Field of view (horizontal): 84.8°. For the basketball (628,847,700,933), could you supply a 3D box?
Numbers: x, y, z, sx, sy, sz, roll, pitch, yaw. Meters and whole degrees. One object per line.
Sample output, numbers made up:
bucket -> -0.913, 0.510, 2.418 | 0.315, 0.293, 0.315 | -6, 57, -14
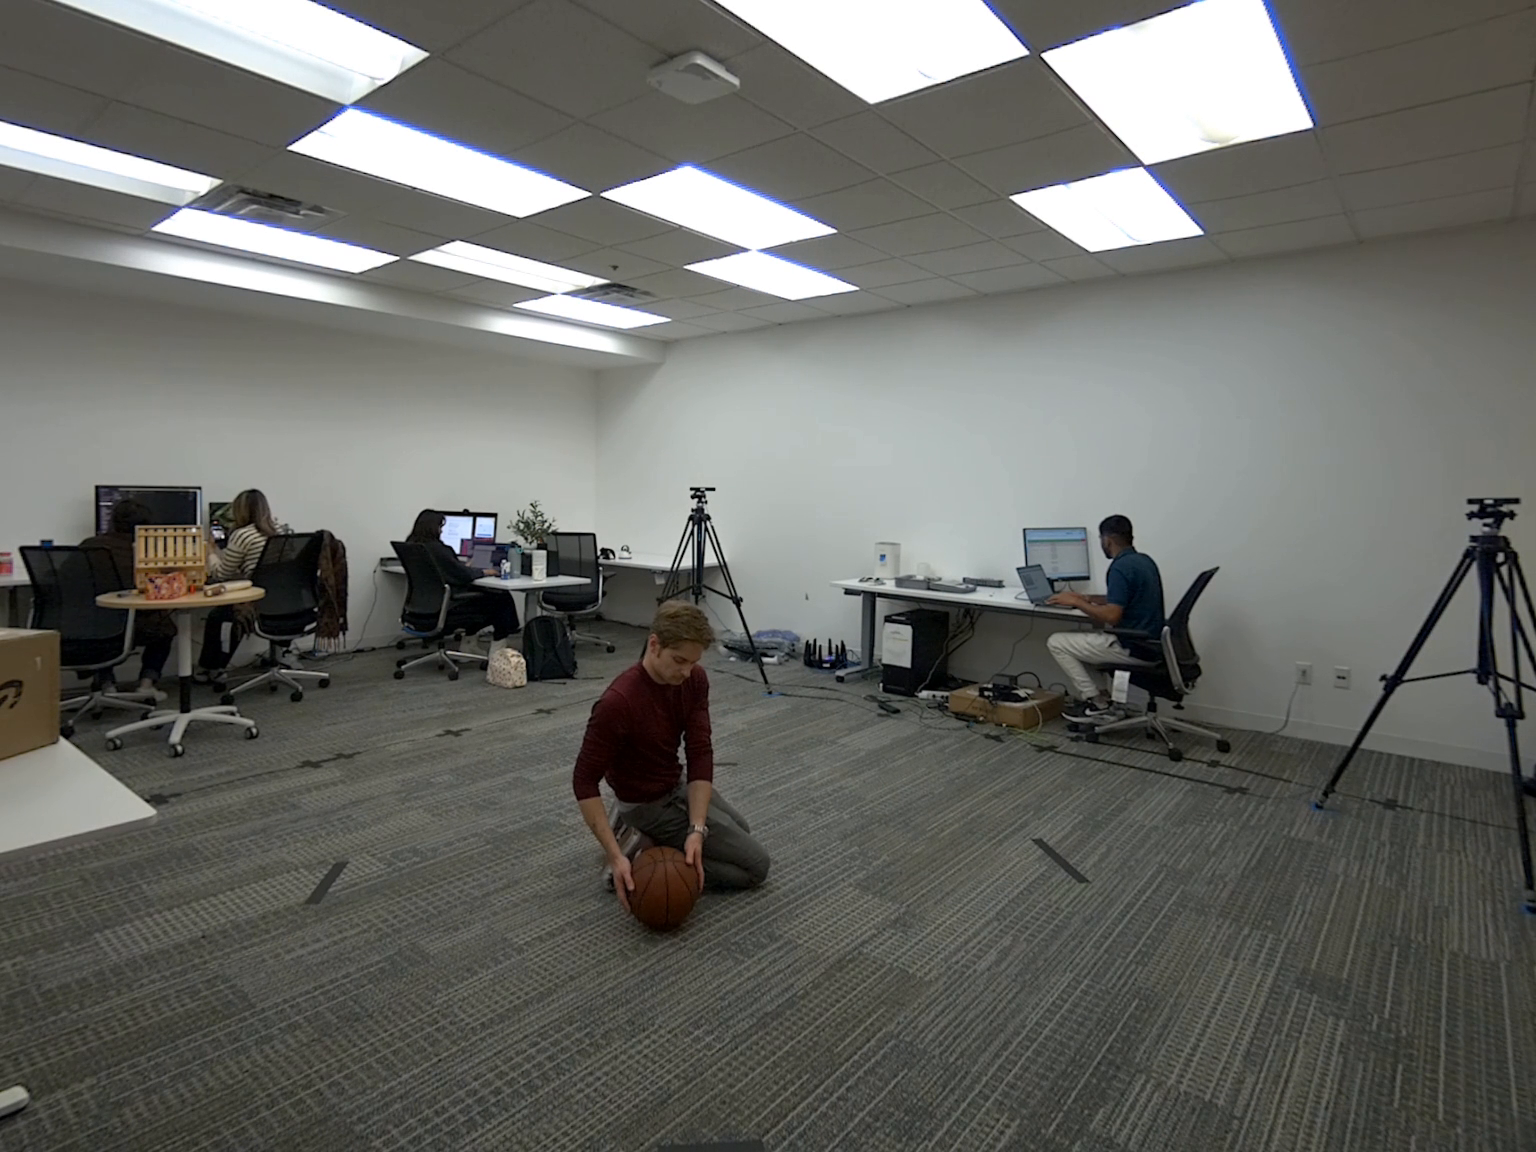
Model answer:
basketball -> -0.342, 0.979, 2.703 | 0.235, 0.235, 0.237 | 1, 4, -2
